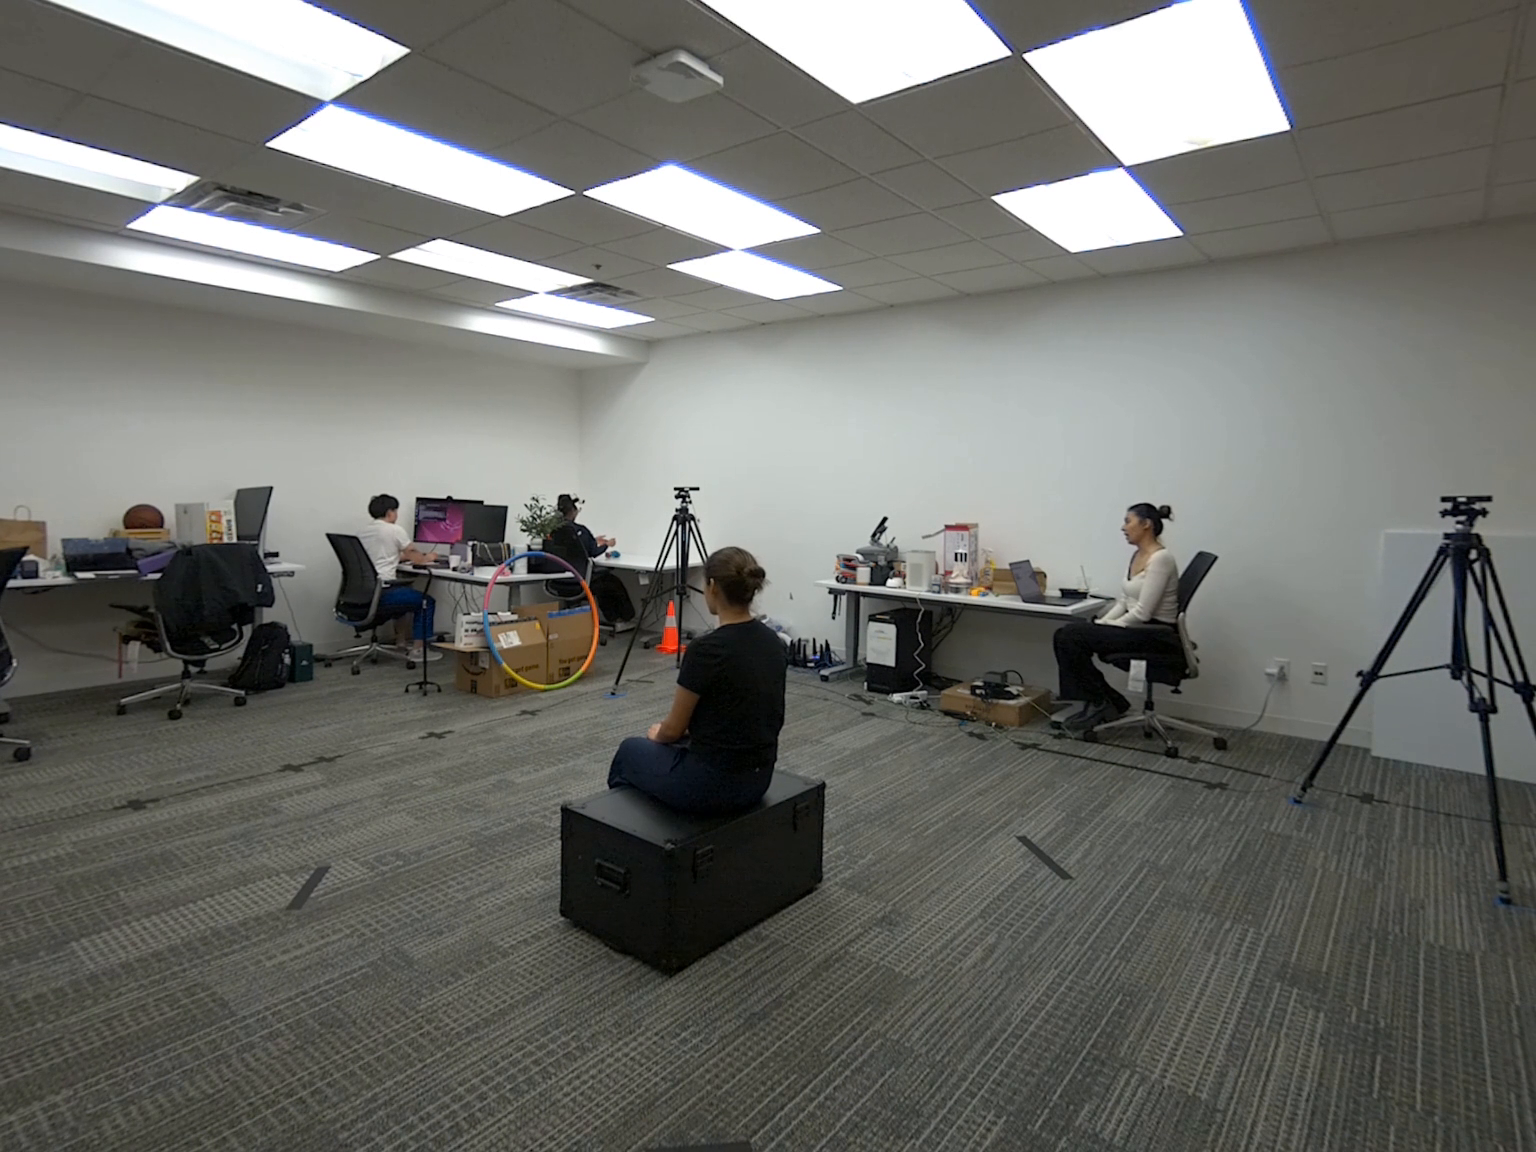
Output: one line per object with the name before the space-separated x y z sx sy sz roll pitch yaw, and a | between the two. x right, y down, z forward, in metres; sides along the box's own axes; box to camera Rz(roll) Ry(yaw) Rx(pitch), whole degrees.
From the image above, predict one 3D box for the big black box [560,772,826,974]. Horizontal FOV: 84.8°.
big black box | -0.199 0.903 2.864 0.539 0.394 0.837 5 7 39
